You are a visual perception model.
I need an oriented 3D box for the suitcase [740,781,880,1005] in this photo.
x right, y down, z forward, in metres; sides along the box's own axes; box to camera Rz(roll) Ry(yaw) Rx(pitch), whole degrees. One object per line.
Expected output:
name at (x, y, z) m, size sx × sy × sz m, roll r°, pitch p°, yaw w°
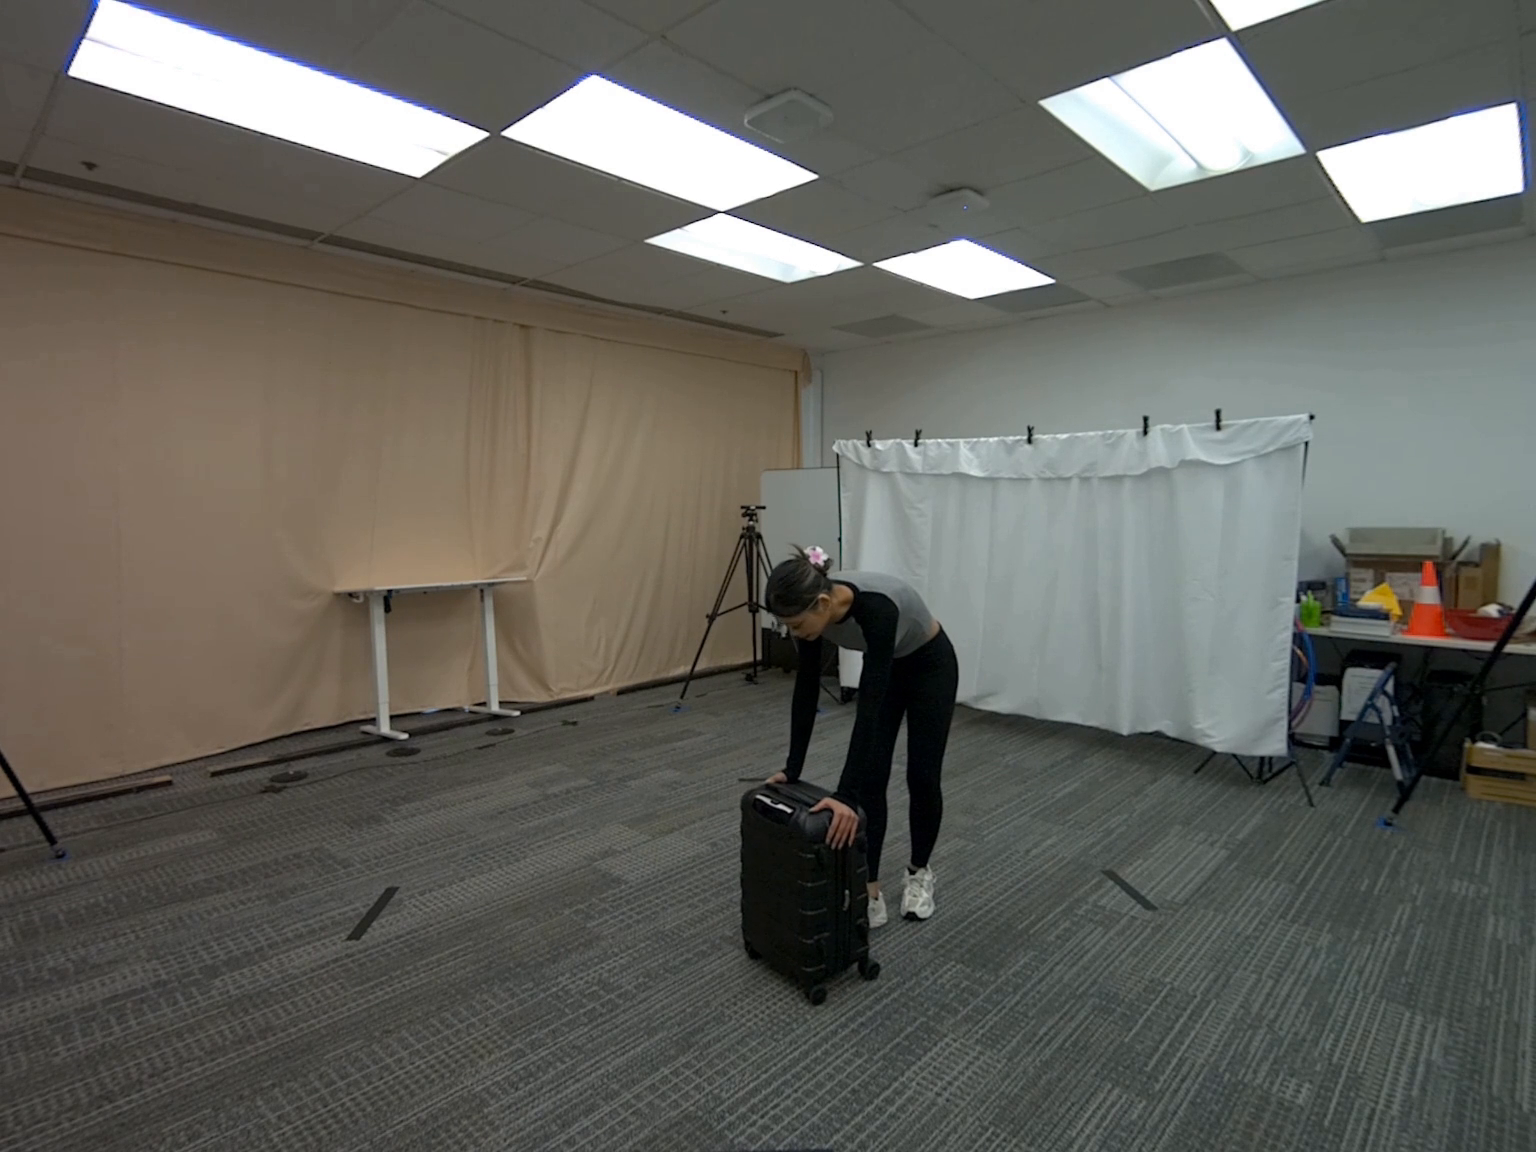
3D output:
suitcase at (0.104, 0.907, 2.519) m, size 0.241 × 0.548 × 0.387 m, roll -3°, pitch 5°, yaw -36°
